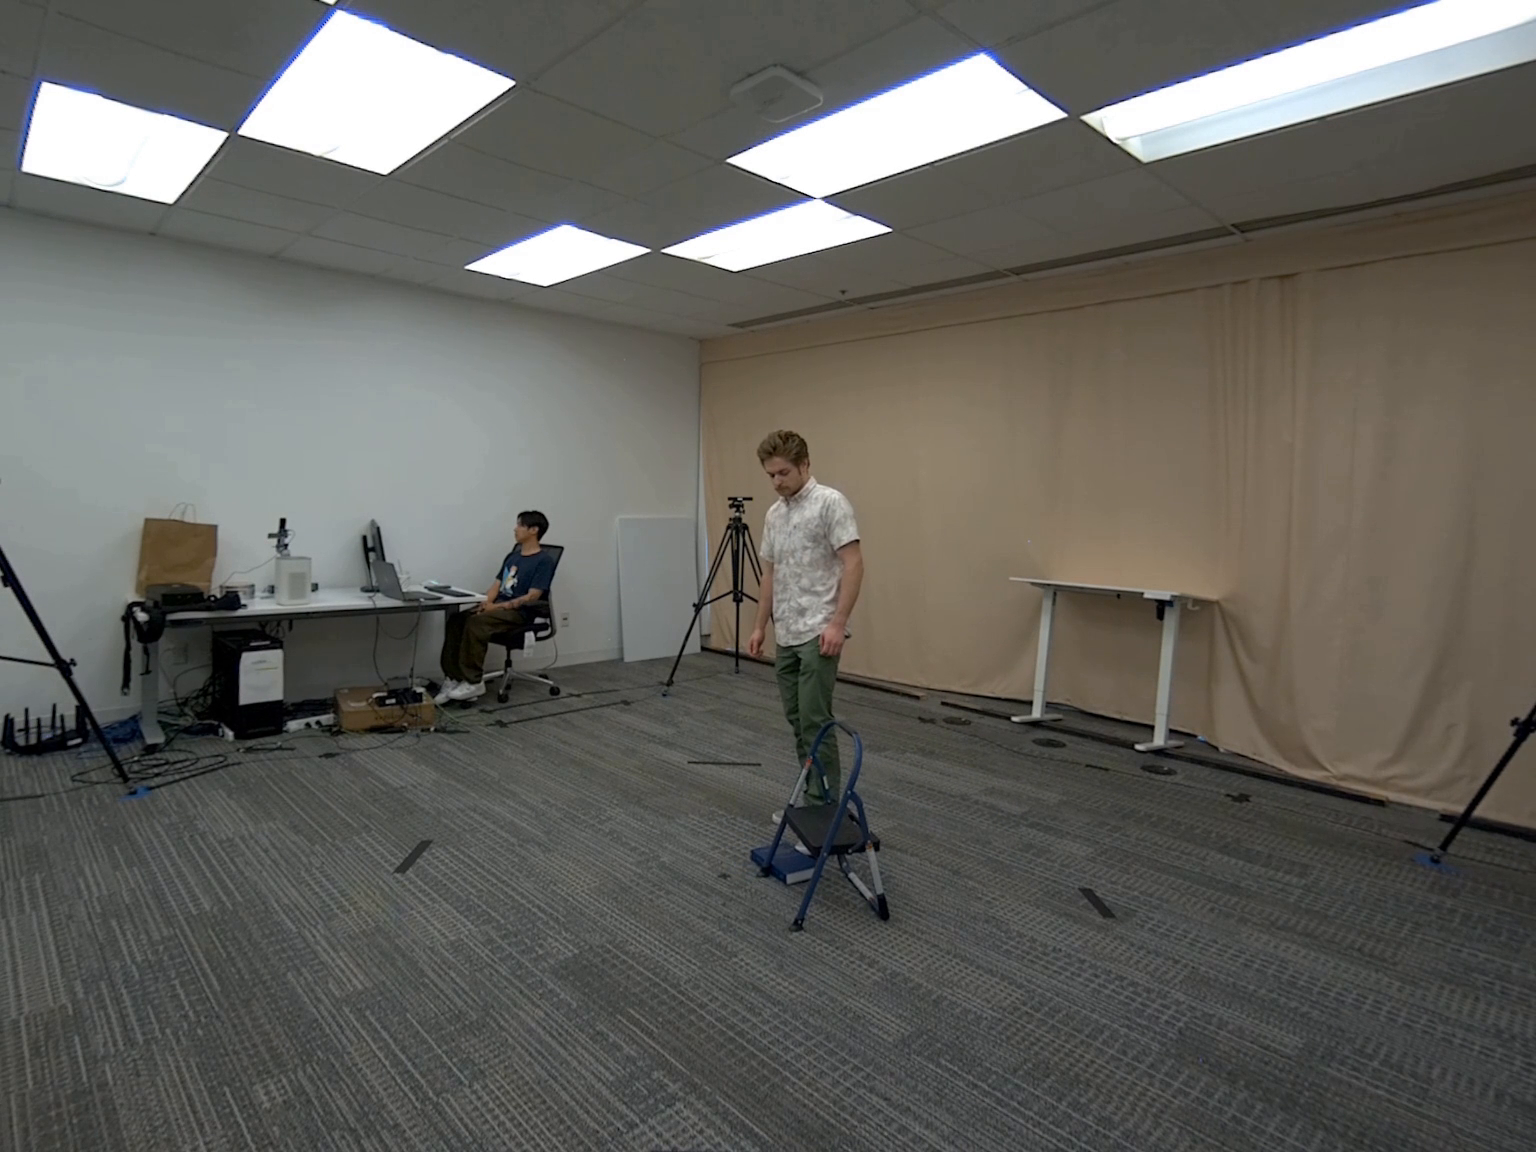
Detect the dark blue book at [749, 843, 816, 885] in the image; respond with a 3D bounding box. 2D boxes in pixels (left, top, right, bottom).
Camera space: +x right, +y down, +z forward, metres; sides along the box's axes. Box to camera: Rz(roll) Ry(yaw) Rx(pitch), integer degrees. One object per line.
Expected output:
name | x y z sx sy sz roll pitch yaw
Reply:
dark blue book | 0.064 1.083 3.180 0.160 0.045 0.251 -2 6 -32
